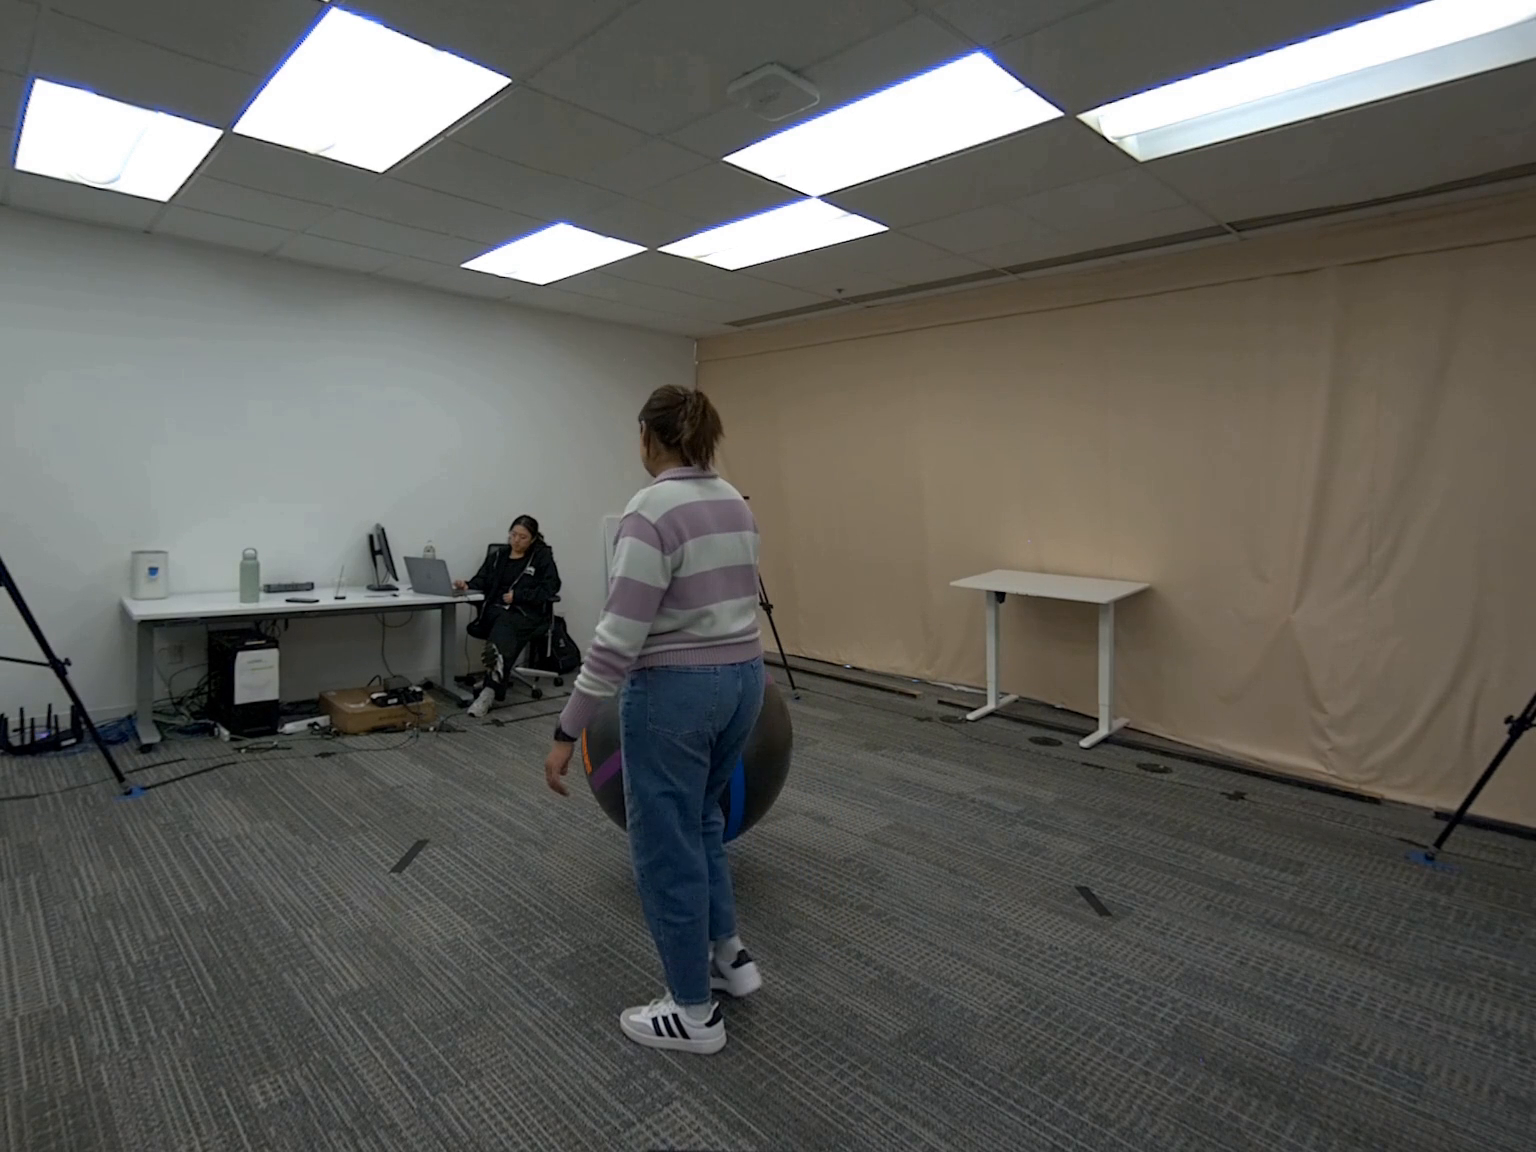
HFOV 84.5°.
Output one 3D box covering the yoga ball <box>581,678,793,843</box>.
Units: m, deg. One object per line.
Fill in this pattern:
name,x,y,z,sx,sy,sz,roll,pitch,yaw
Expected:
yoga ball,-0.292,0.598,3.046,0.757,0.756,0.761,1,4,-1
